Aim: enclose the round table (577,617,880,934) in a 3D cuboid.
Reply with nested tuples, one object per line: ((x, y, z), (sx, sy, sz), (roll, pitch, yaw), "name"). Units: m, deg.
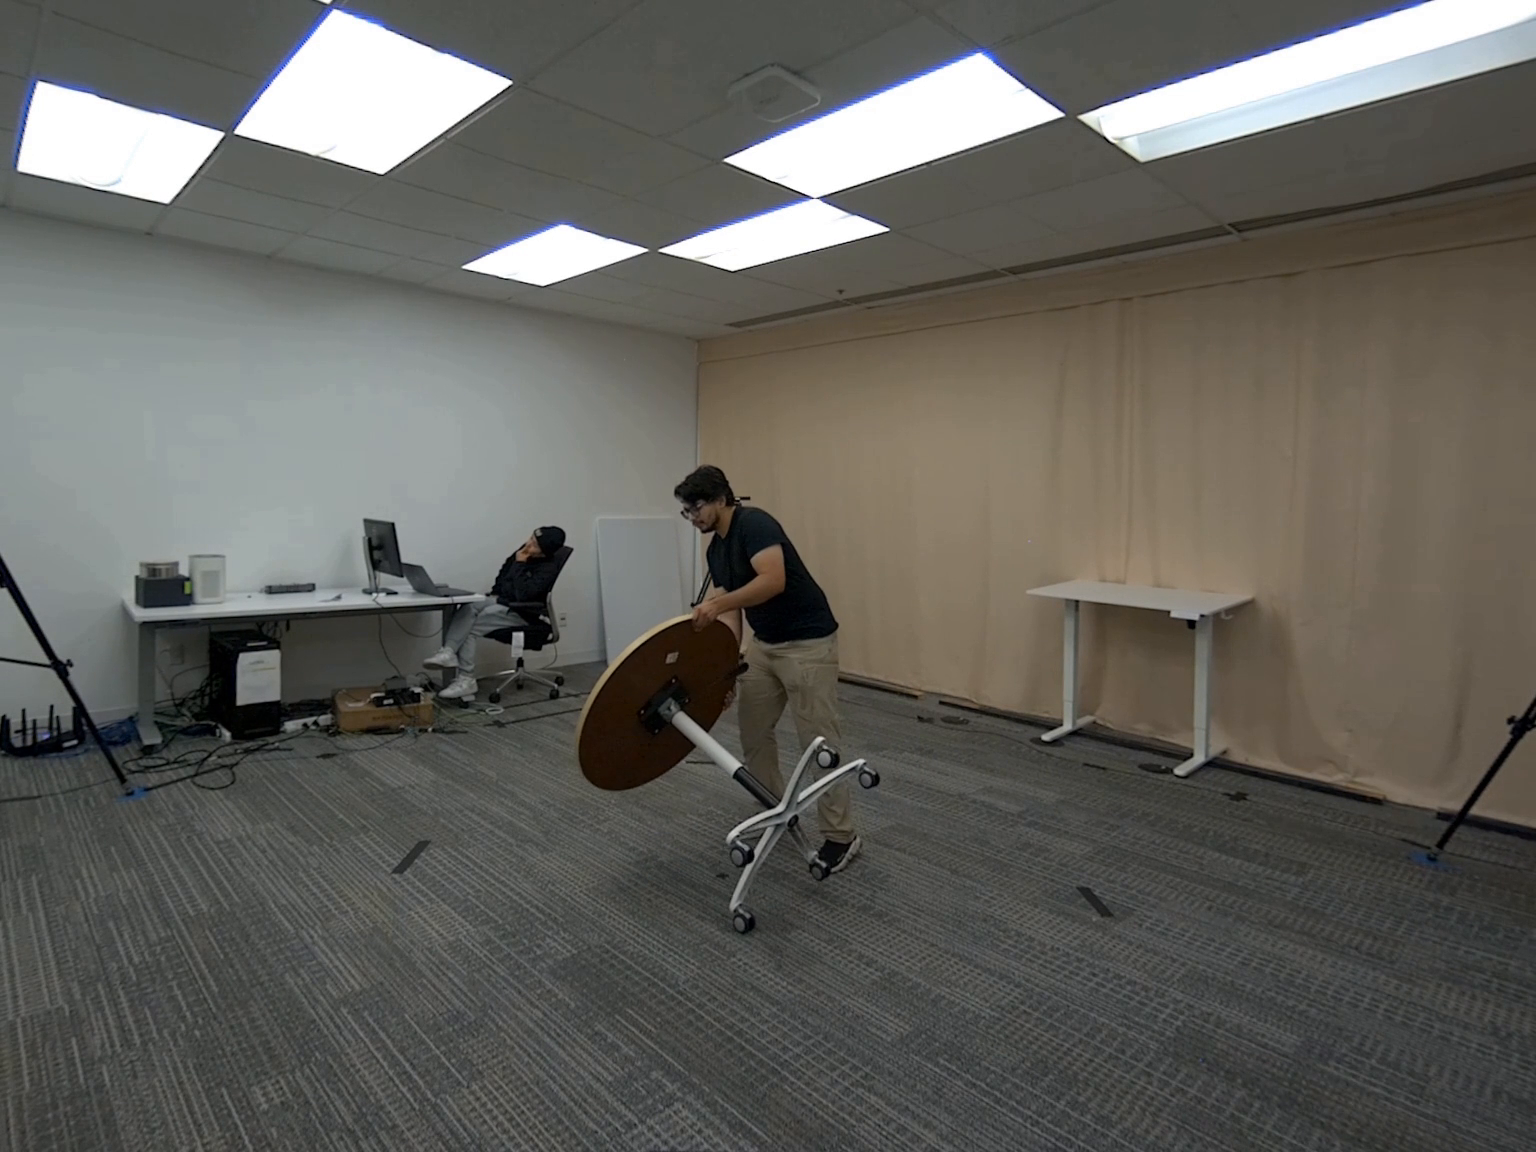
((-0.142, 0.653, 2.926), (0.810, 0.779, 0.767), (33, 23, 35), "round table")
